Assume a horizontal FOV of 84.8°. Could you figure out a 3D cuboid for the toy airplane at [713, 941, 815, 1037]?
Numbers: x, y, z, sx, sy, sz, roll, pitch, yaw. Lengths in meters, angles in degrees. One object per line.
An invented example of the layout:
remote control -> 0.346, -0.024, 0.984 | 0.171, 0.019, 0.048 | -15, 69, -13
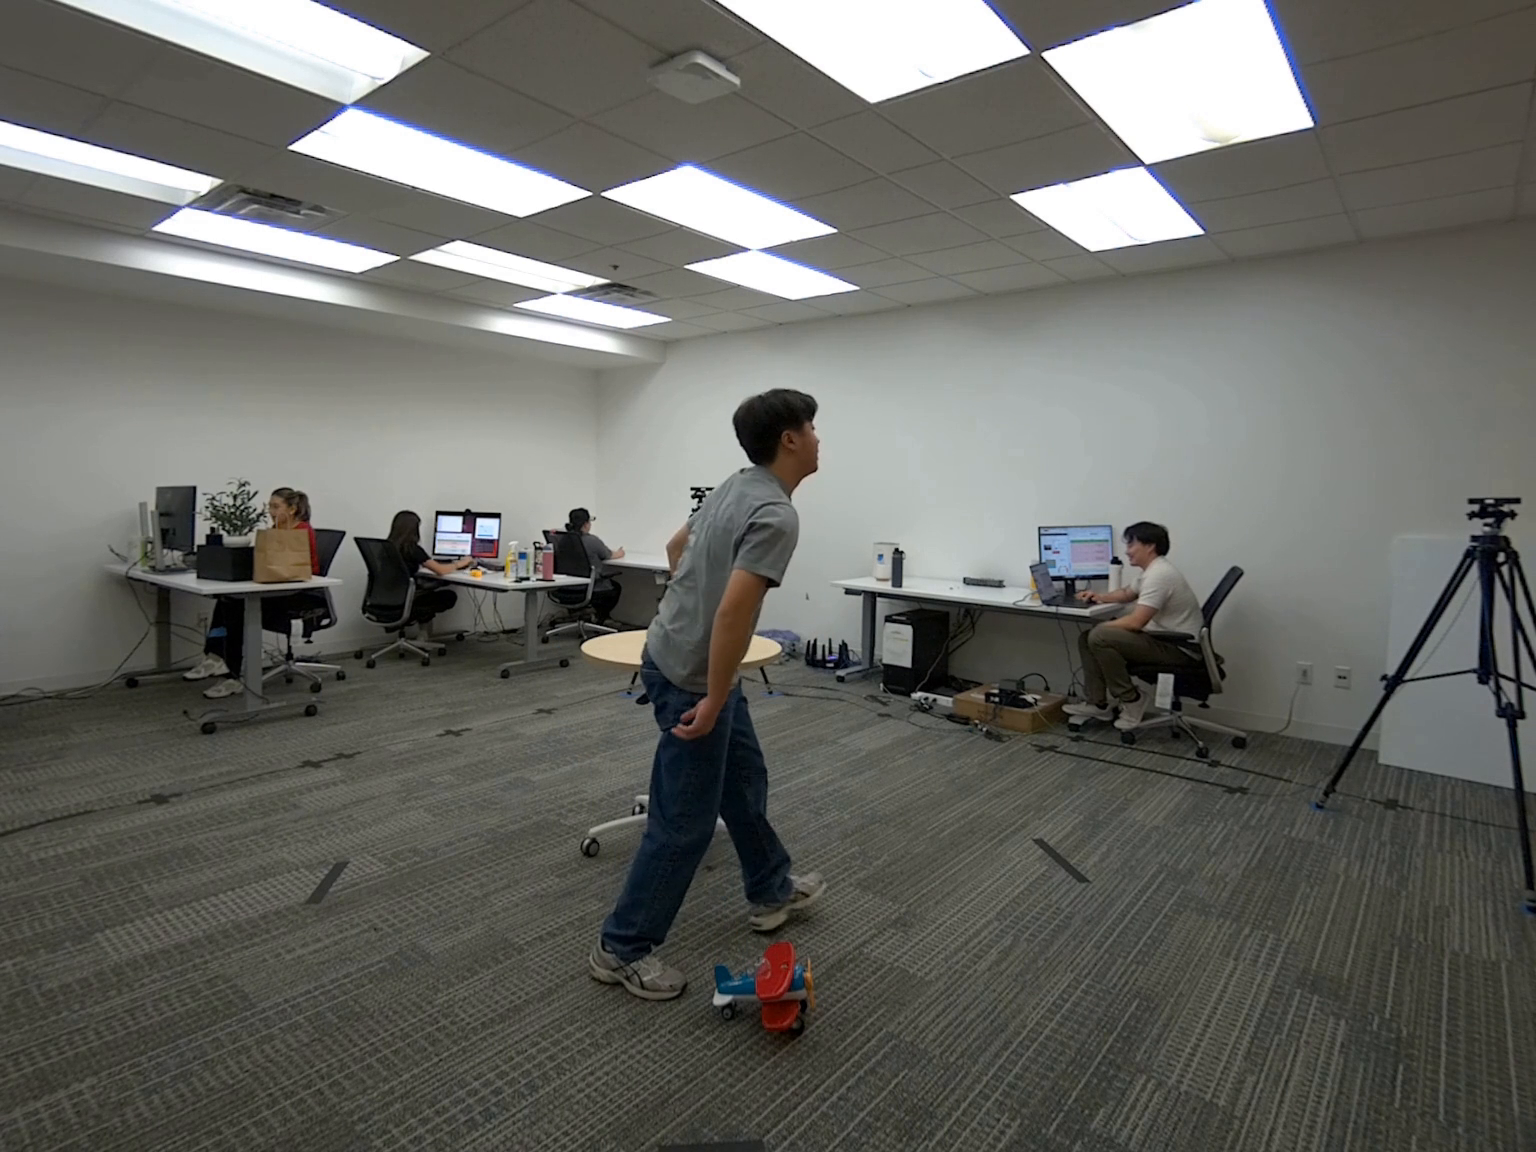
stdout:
toy airplane -> -0.016, 1.089, 2.209 | 0.254, 0.156, 0.257 | 0, 5, -20
